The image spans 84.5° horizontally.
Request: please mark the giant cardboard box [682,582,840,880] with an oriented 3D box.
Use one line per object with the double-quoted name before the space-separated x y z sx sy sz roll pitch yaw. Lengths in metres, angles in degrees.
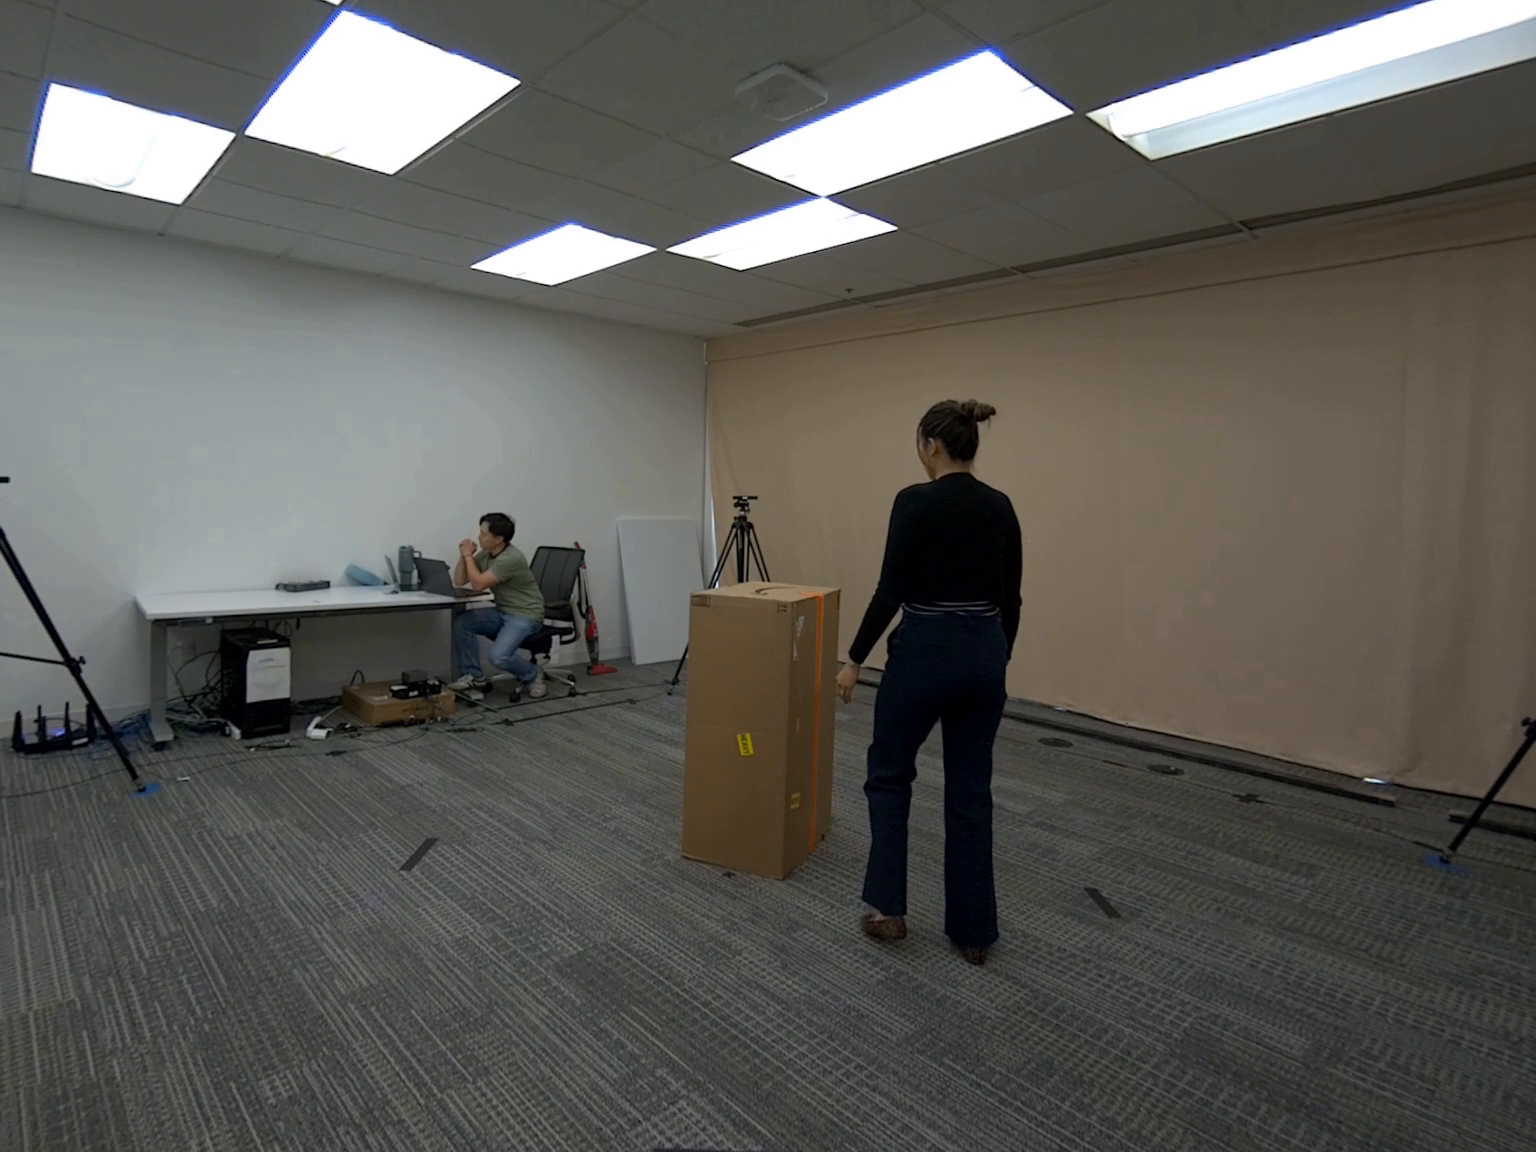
"giant cardboard box" -0.017 0.570 3.386 0.434 1.023 0.568 4 4 24
